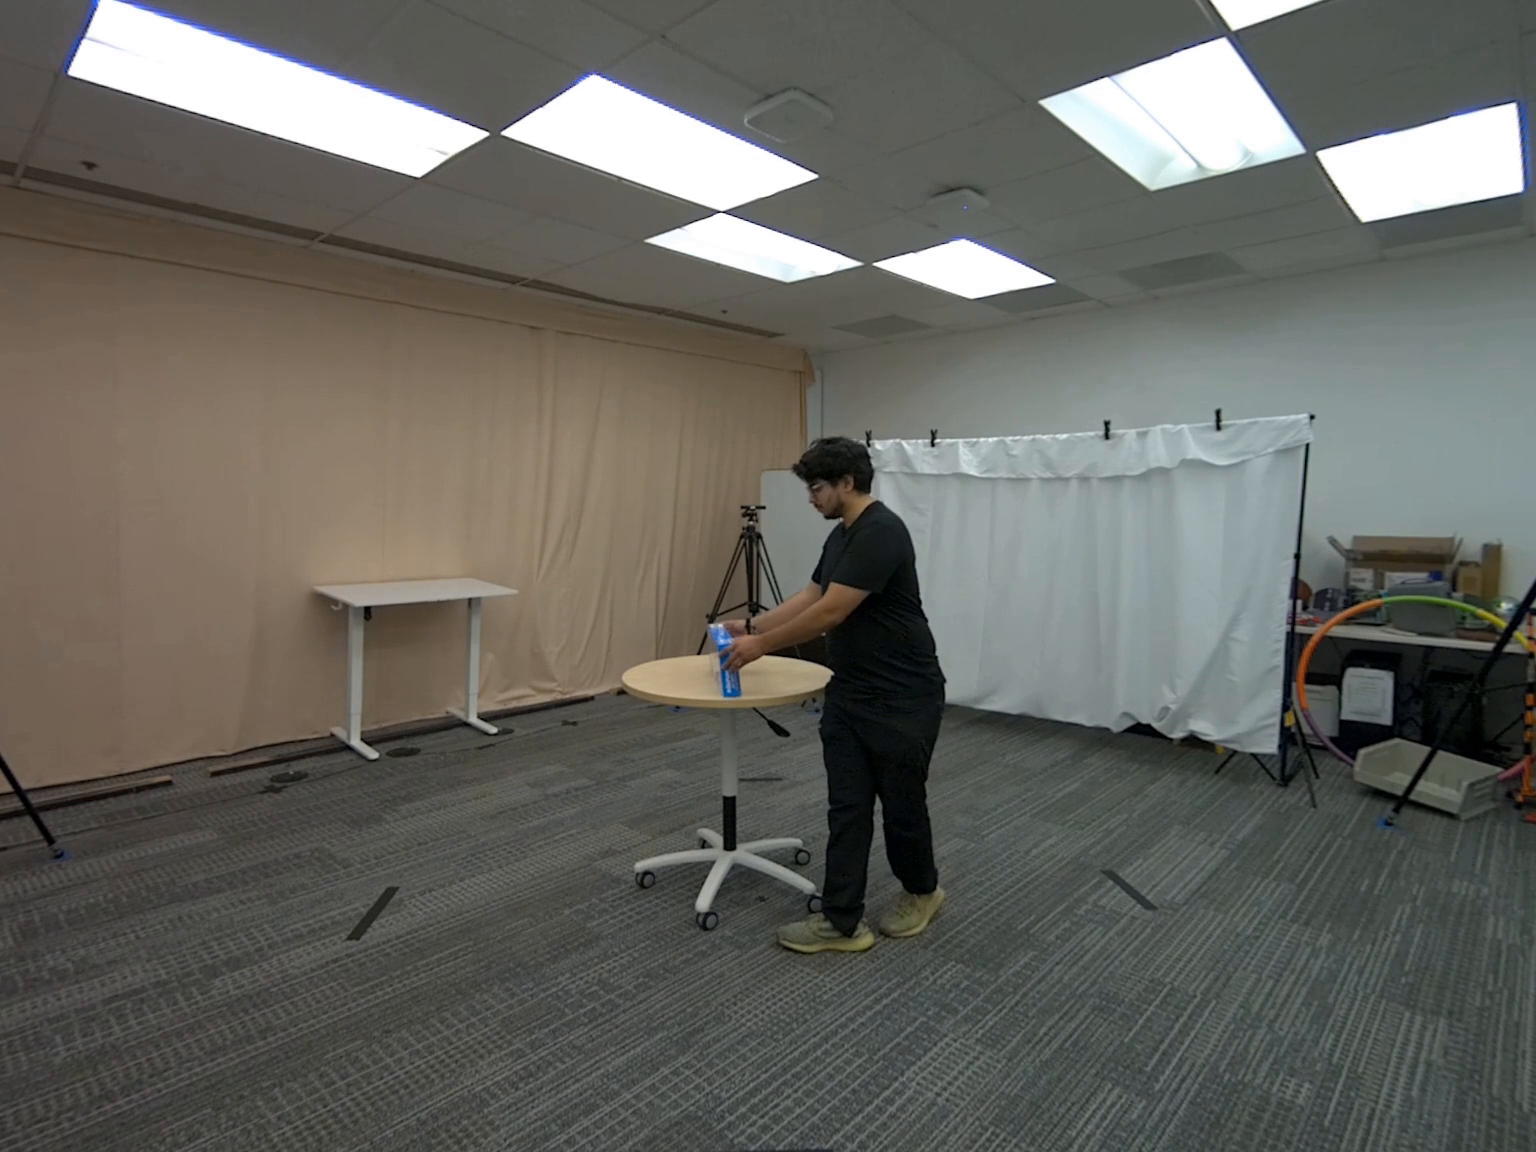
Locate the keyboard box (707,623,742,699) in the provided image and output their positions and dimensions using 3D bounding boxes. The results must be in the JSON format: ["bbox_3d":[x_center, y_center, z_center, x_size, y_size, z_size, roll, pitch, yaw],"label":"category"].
[{"bbox_3d":[-0.153,0.280,2.909,0.058,0.175,0.442,-7,6,-11],"label":"keyboard box"}]
